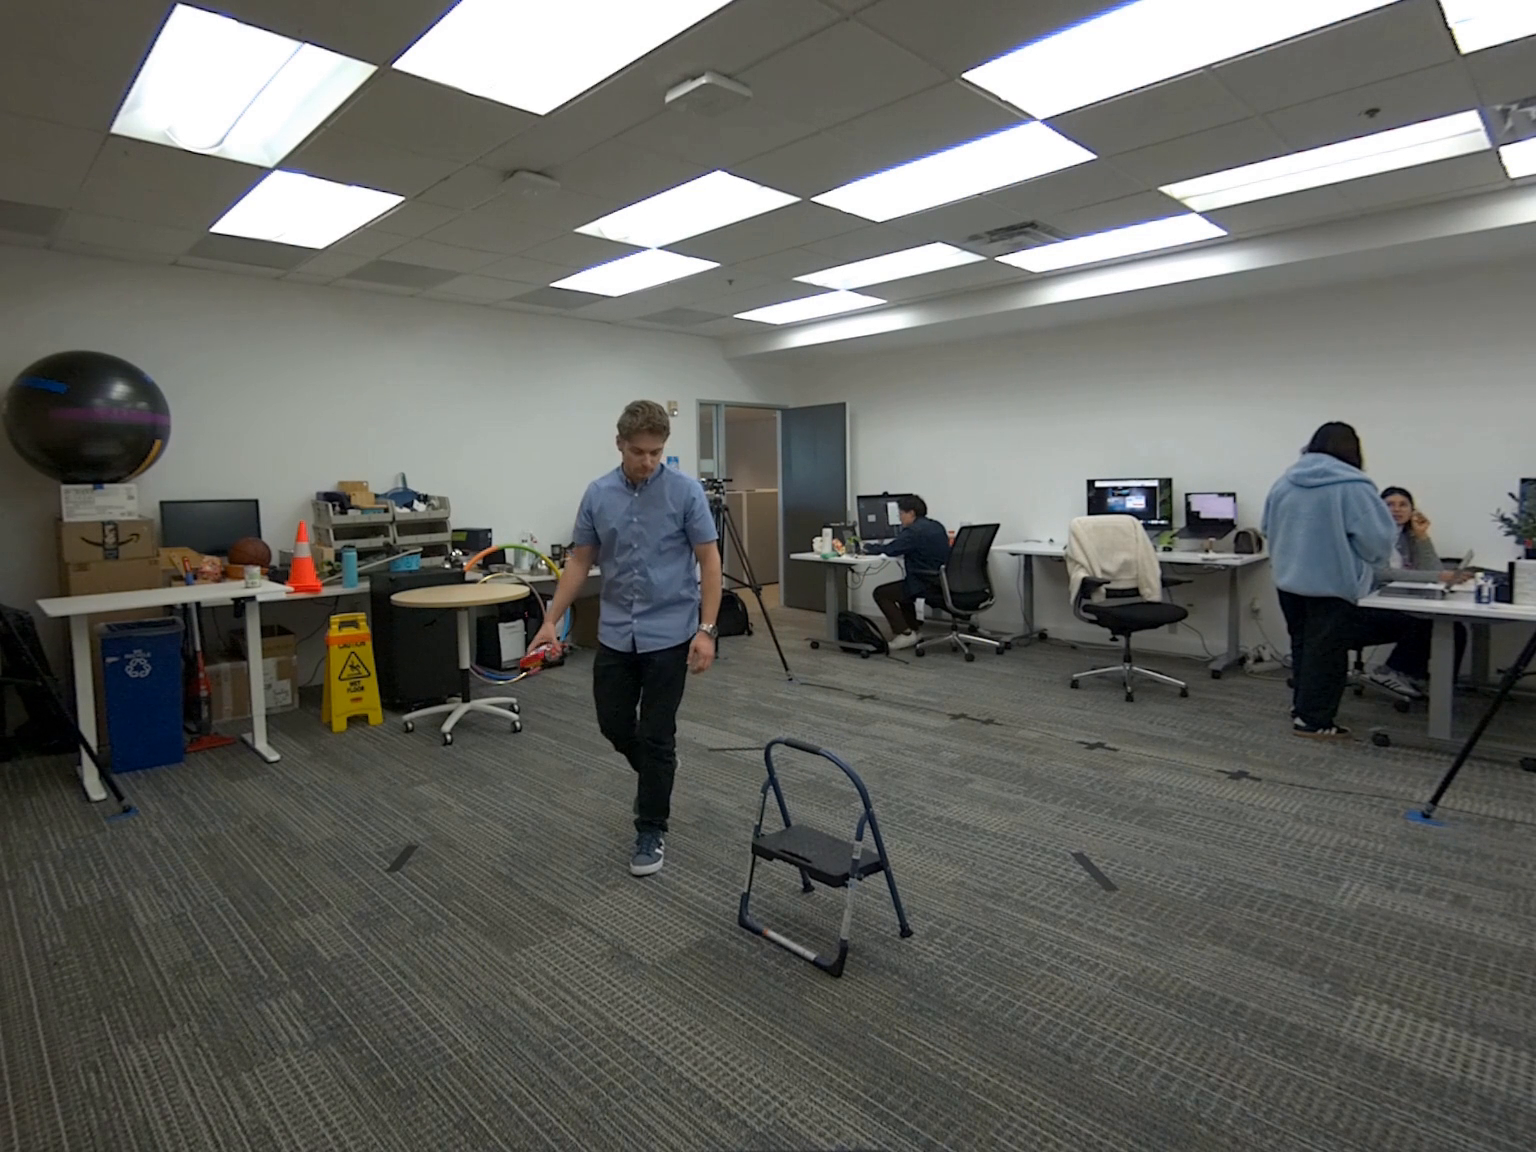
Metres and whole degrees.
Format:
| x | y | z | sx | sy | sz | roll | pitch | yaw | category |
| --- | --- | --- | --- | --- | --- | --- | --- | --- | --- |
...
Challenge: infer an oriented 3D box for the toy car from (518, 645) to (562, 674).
| x | y | z | sx | sy | sz | roll | pitch | yaw | category |
| --- | --- | --- | --- | --- | --- | --- | --- | --- | --- |
| -0.796 | 0.286 | 3.079 | 0.131 | 0.082 | 0.255 | -24 | 9 | 10 | toy car |
